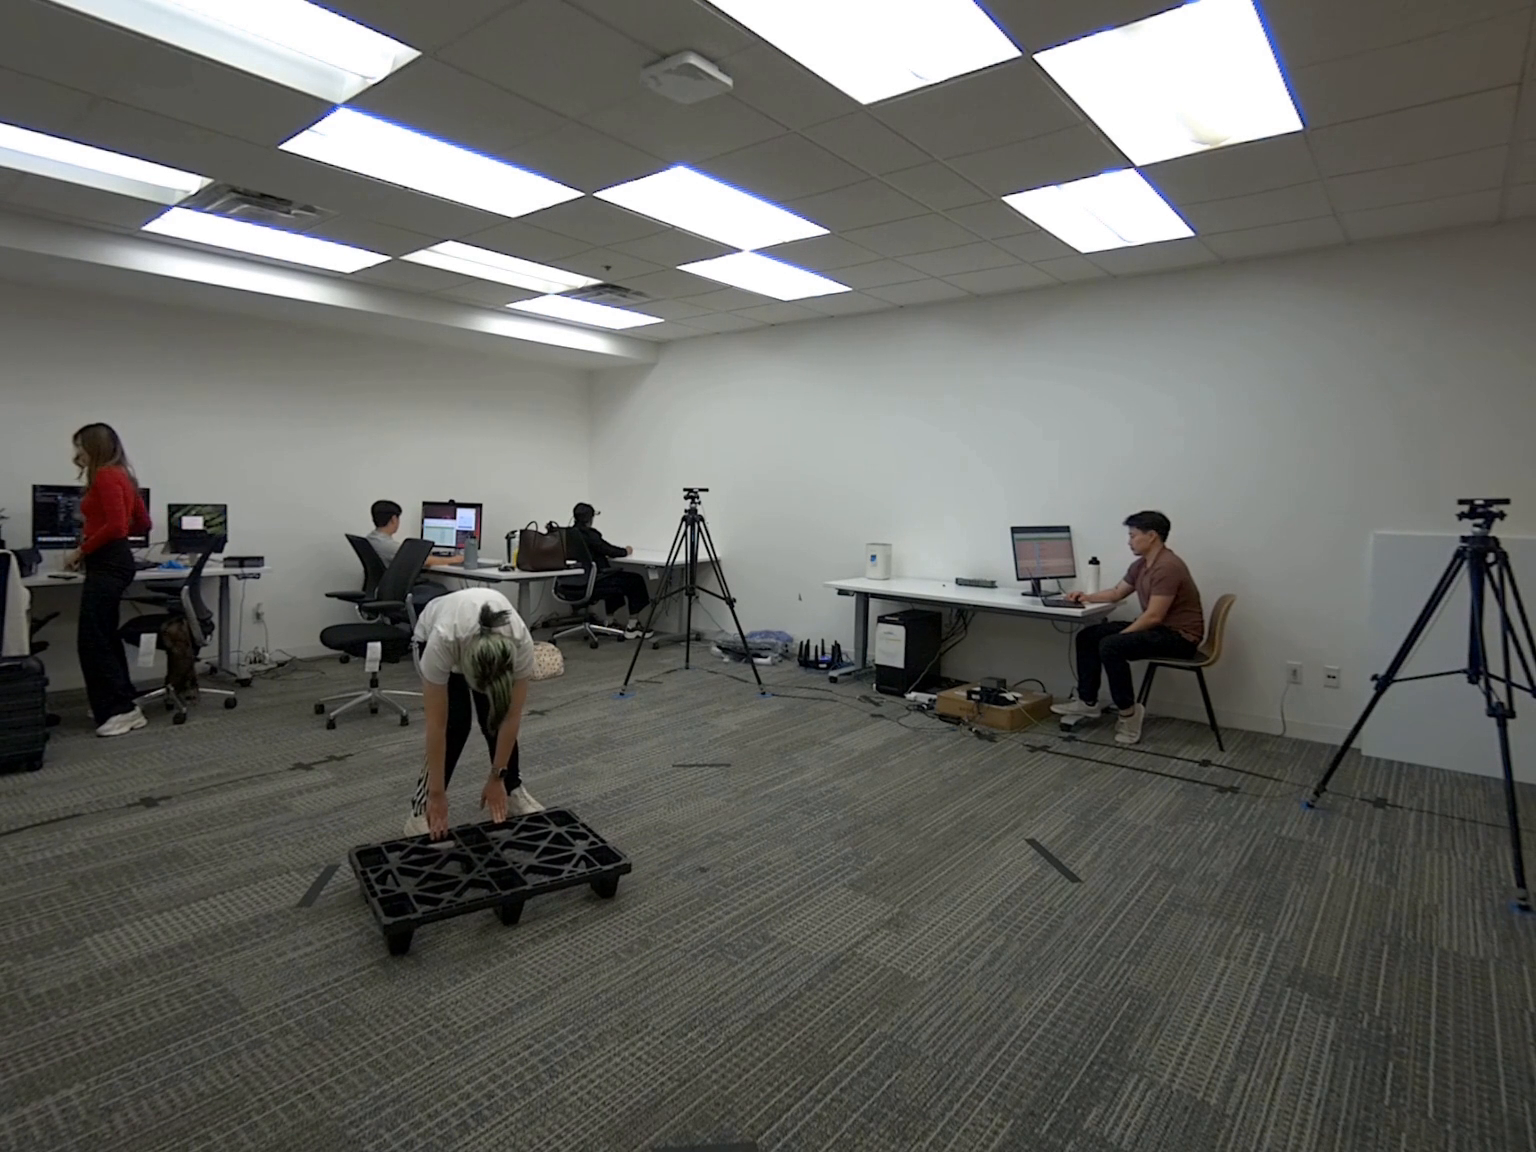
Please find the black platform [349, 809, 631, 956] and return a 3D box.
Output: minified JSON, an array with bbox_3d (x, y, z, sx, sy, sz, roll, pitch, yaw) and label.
[{"bbox_3d":[-0.963,1.012,2.891,0.783,0.143,0.625,-3,6,-34],"label":"black platform"}]
